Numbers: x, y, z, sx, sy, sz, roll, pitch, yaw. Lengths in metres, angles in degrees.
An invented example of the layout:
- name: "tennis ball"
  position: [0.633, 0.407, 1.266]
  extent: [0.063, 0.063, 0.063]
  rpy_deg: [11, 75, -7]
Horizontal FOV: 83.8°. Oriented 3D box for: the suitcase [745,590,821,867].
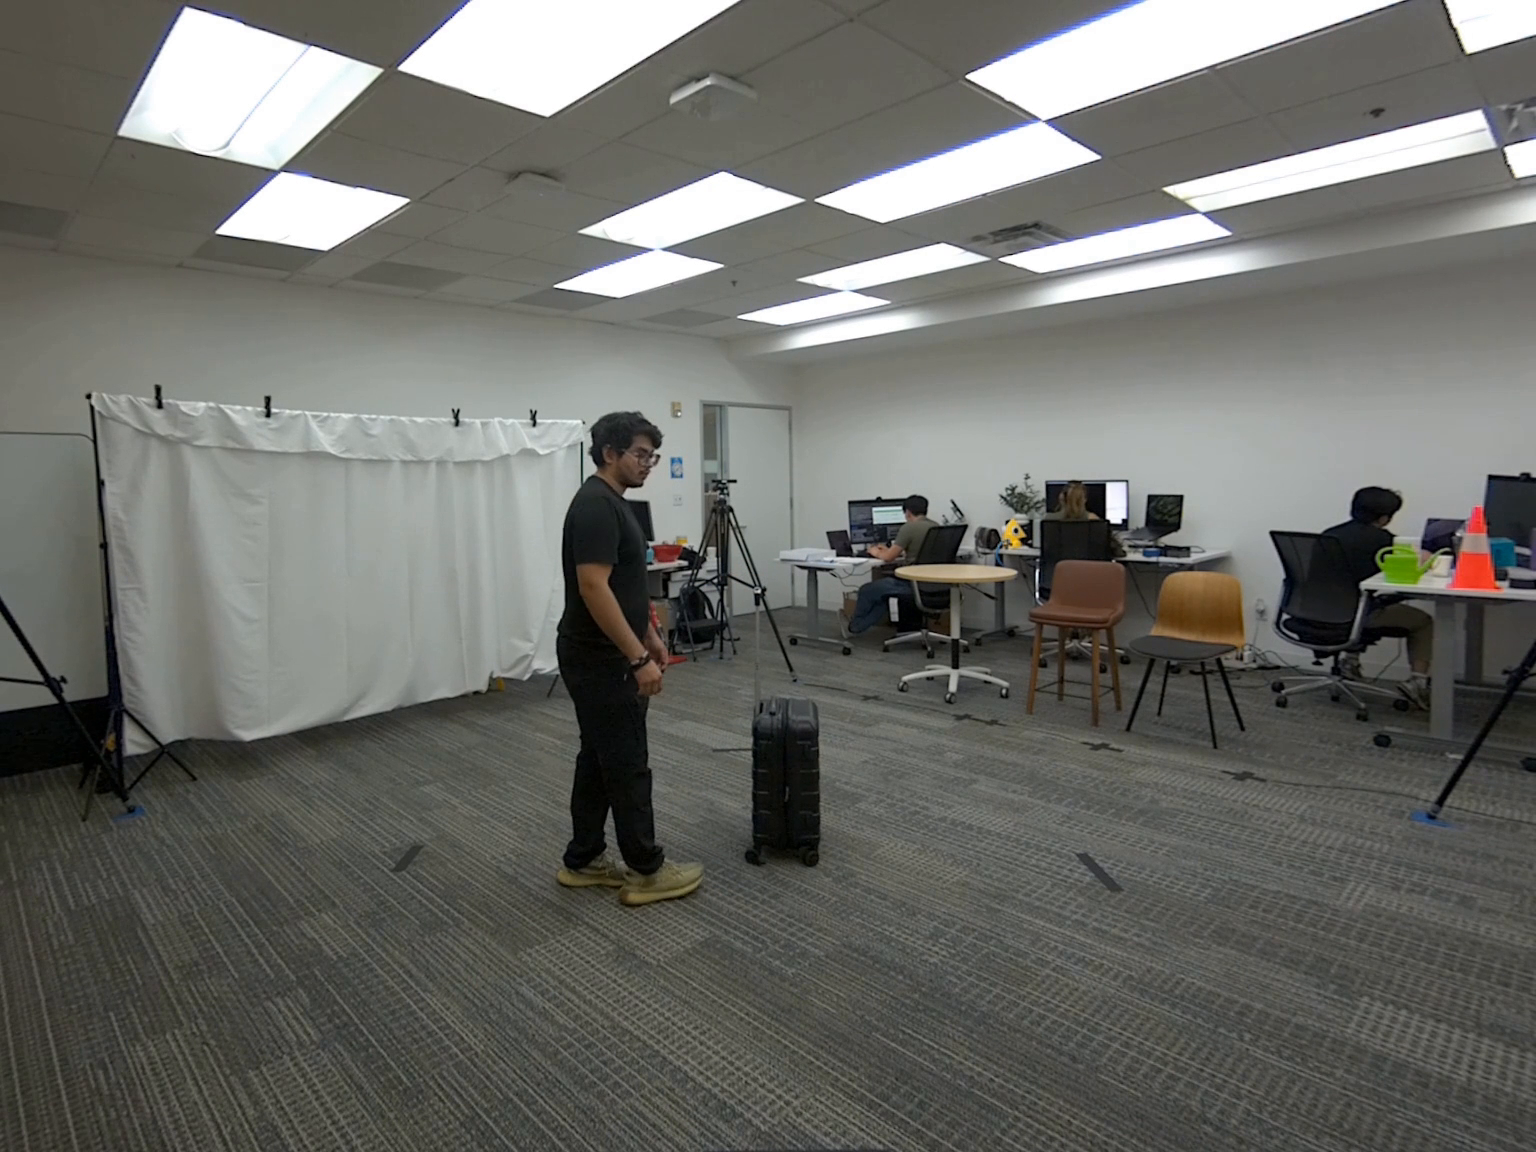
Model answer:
- name: "suitcase"
  position: [0.074, 0.554, 3.239]
  extent: [0.258, 0.976, 0.384]
  rpy_deg: [1, 3, 2]
